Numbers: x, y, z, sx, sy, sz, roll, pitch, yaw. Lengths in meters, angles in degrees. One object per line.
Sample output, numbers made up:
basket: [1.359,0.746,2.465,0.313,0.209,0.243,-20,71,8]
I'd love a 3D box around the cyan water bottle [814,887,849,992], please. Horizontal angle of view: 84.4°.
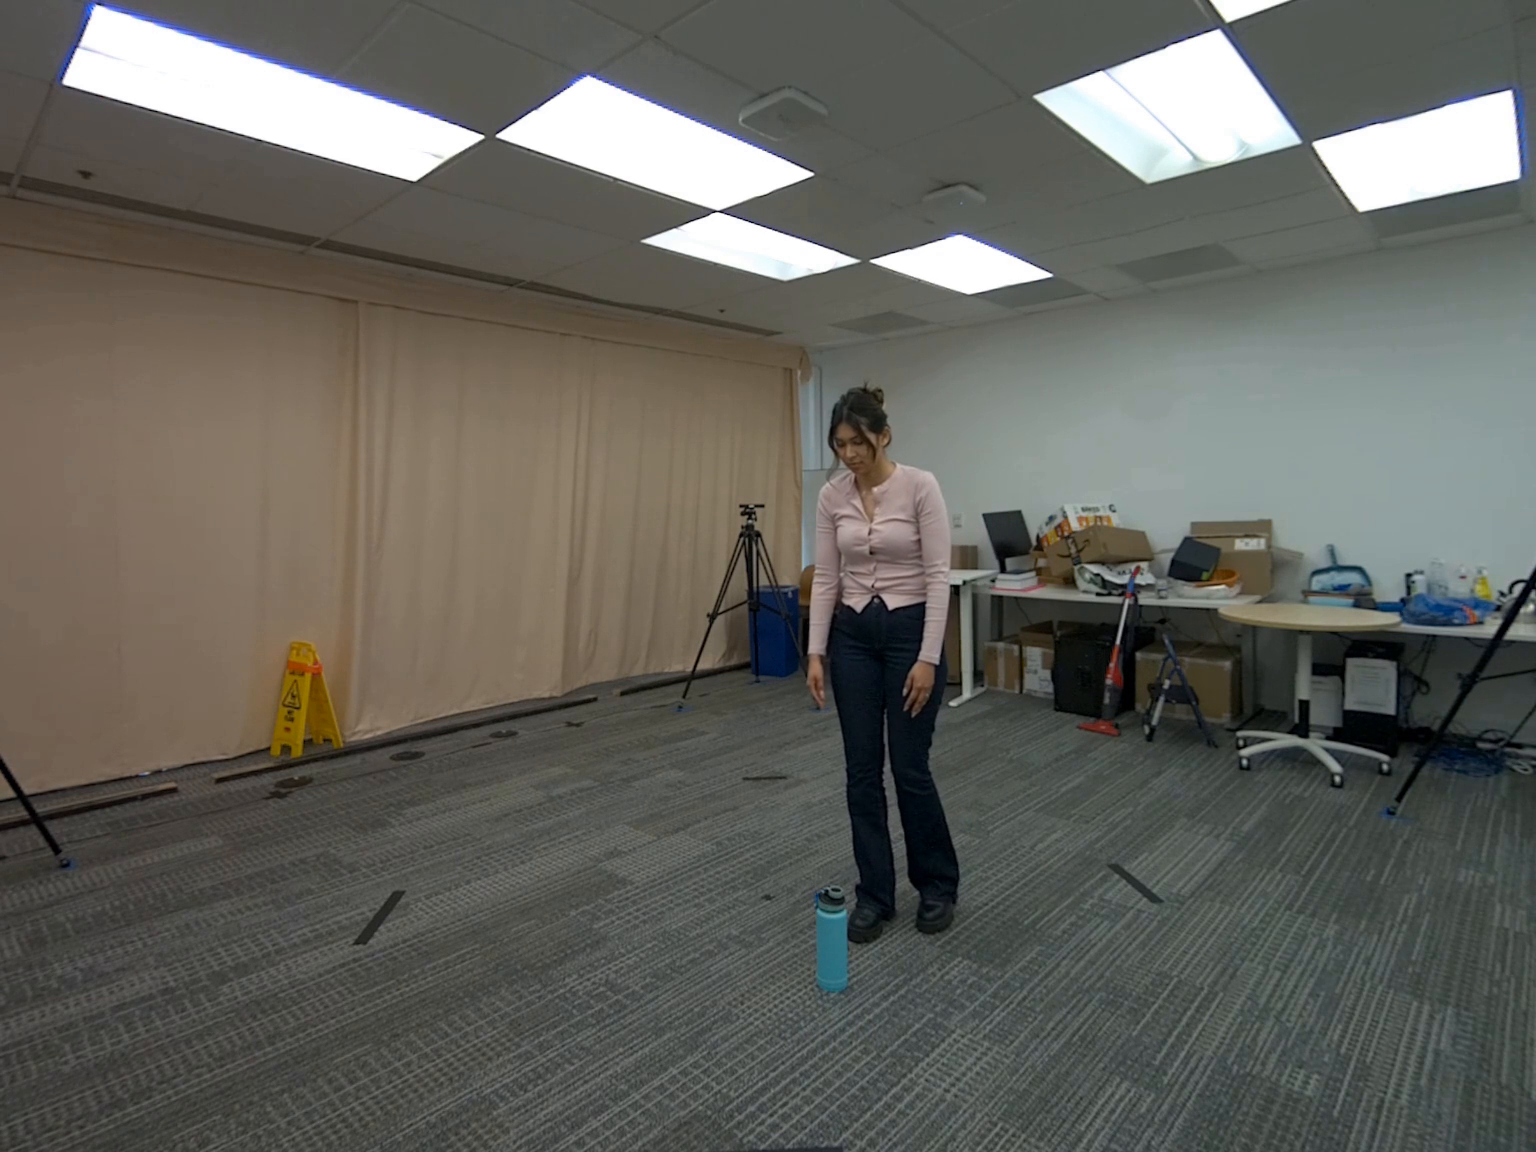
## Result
cyan water bottle: [0.189,1.046,2.423,0.092,0.283,0.092,-1,2,-2]
